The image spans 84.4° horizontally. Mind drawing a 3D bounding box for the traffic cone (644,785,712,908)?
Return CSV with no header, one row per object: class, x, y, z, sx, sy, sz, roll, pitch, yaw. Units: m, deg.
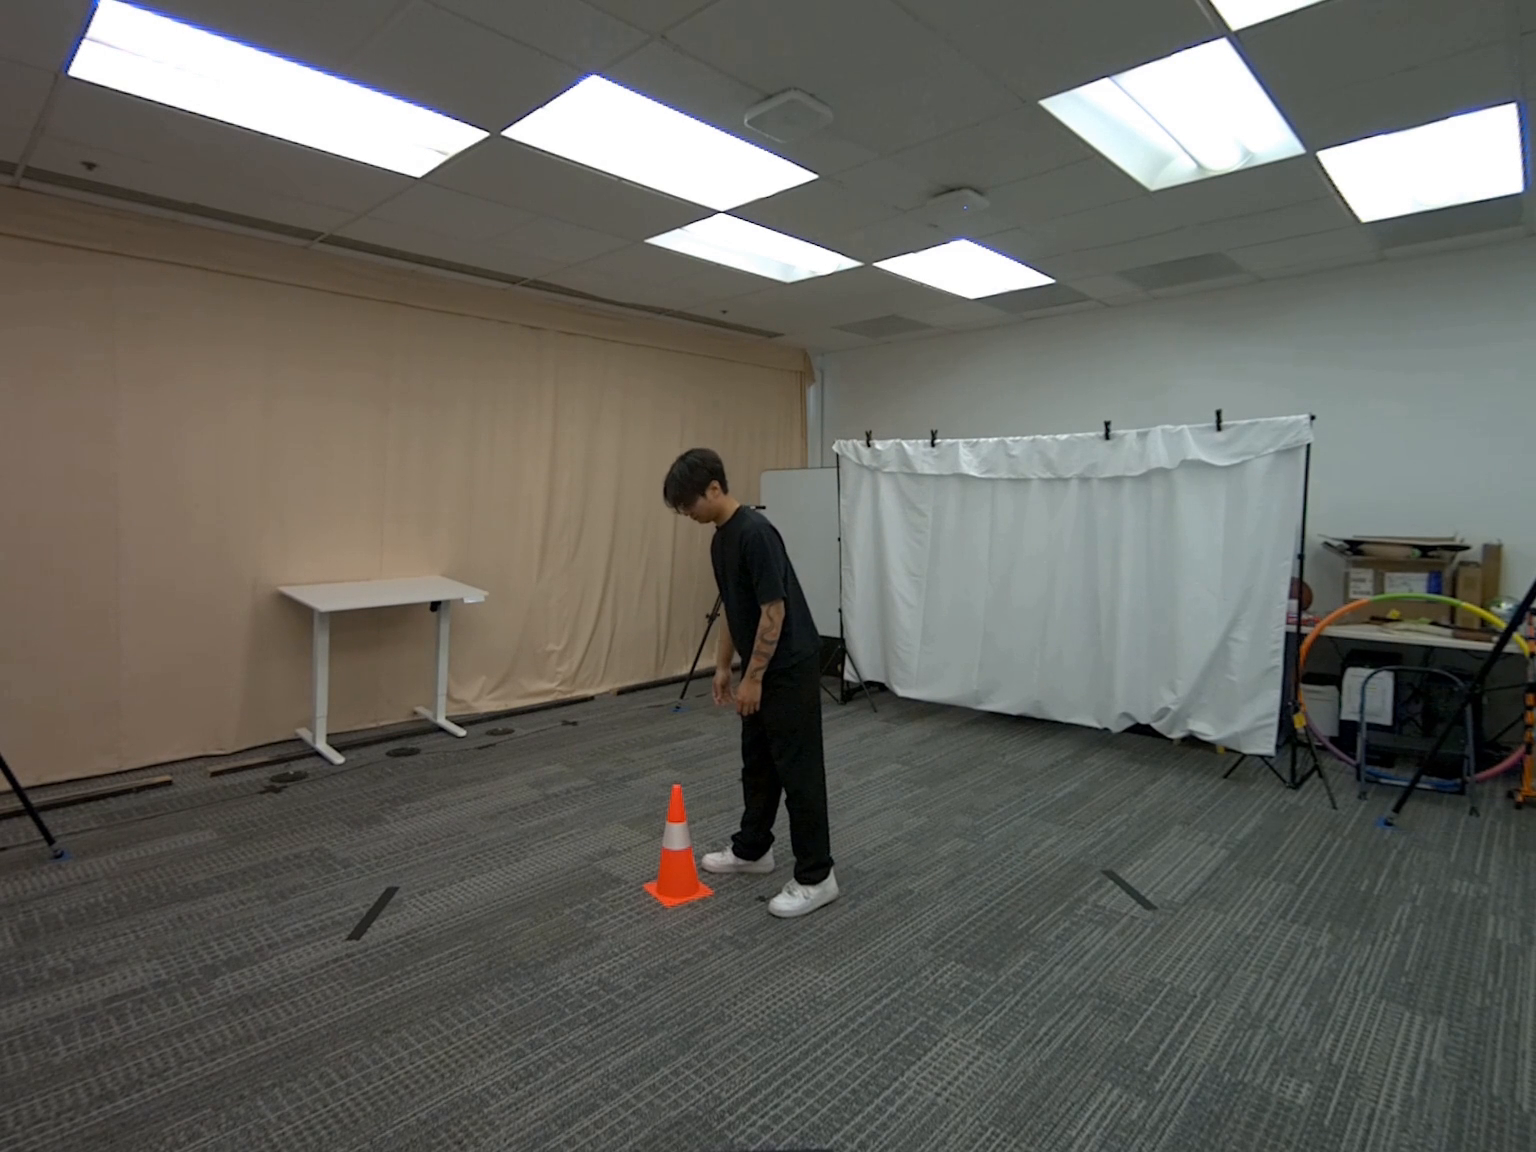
traffic cone,-0.333,0.961,3.059,0.197,0.383,0.211,-2,1,-34
